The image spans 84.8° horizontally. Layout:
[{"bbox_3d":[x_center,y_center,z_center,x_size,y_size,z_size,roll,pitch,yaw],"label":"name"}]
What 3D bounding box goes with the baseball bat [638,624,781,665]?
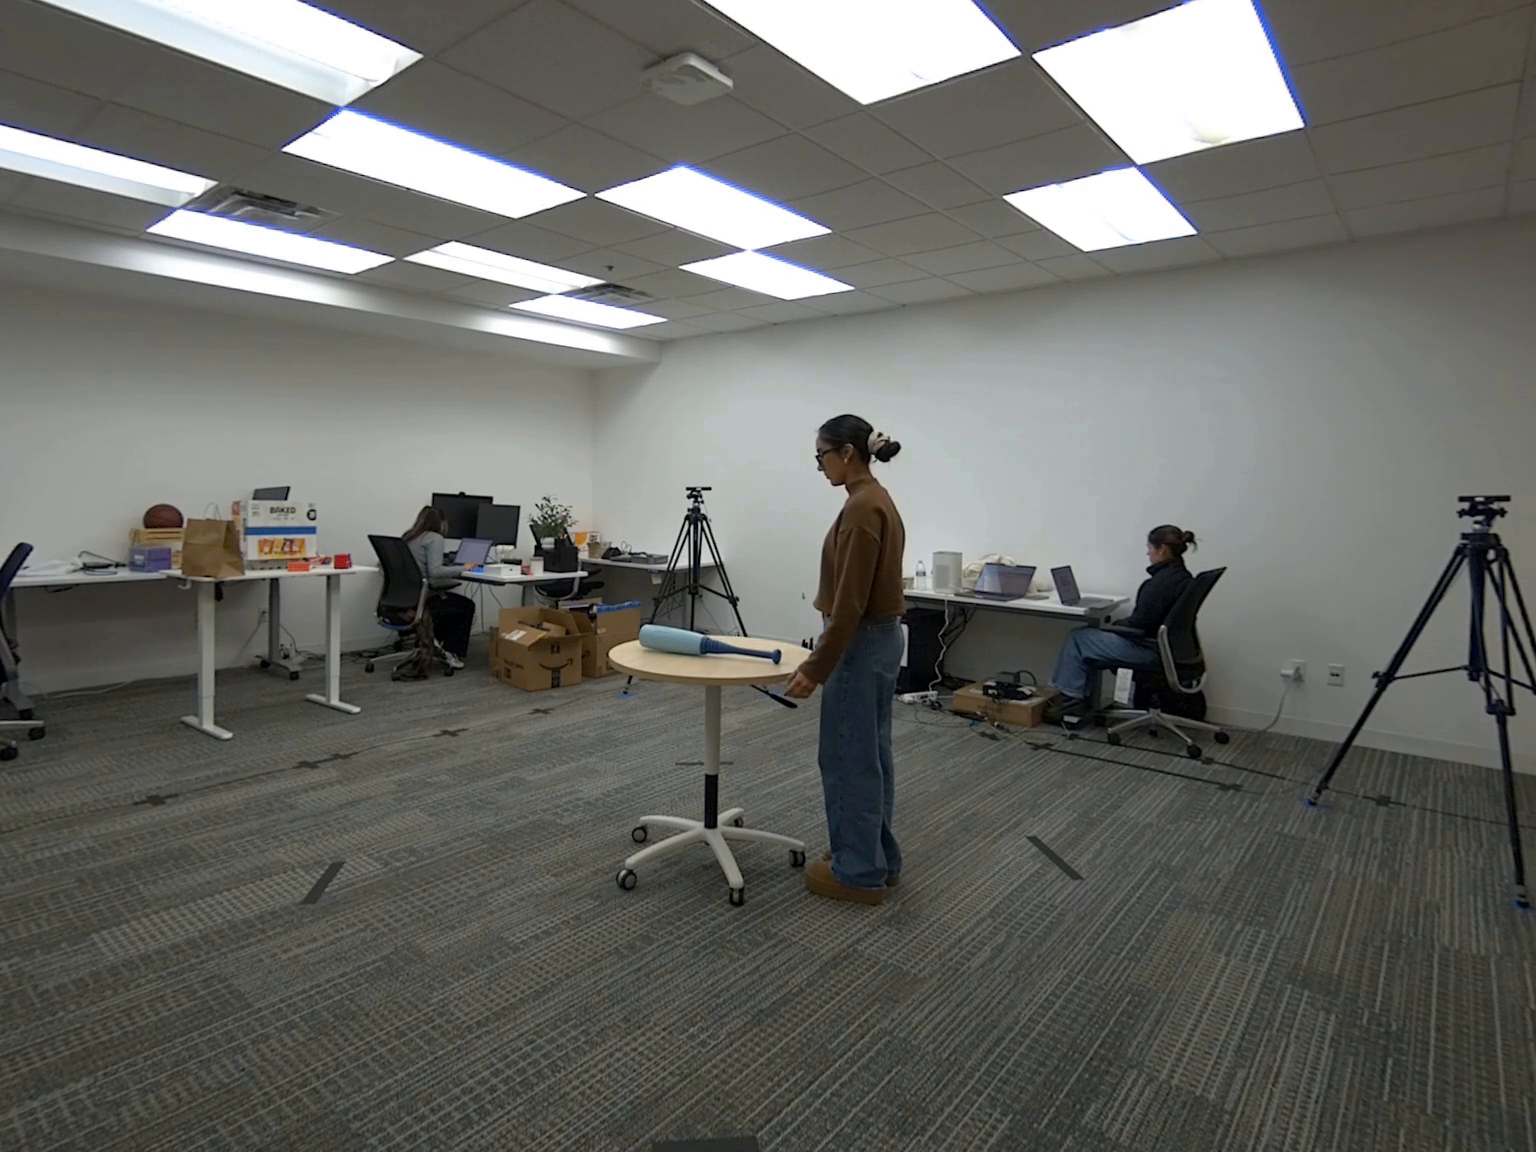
[{"bbox_3d":[-0.222,0.255,3.061,0.556,0.089,0.087,7,6,21],"label":"baseball bat"}]
